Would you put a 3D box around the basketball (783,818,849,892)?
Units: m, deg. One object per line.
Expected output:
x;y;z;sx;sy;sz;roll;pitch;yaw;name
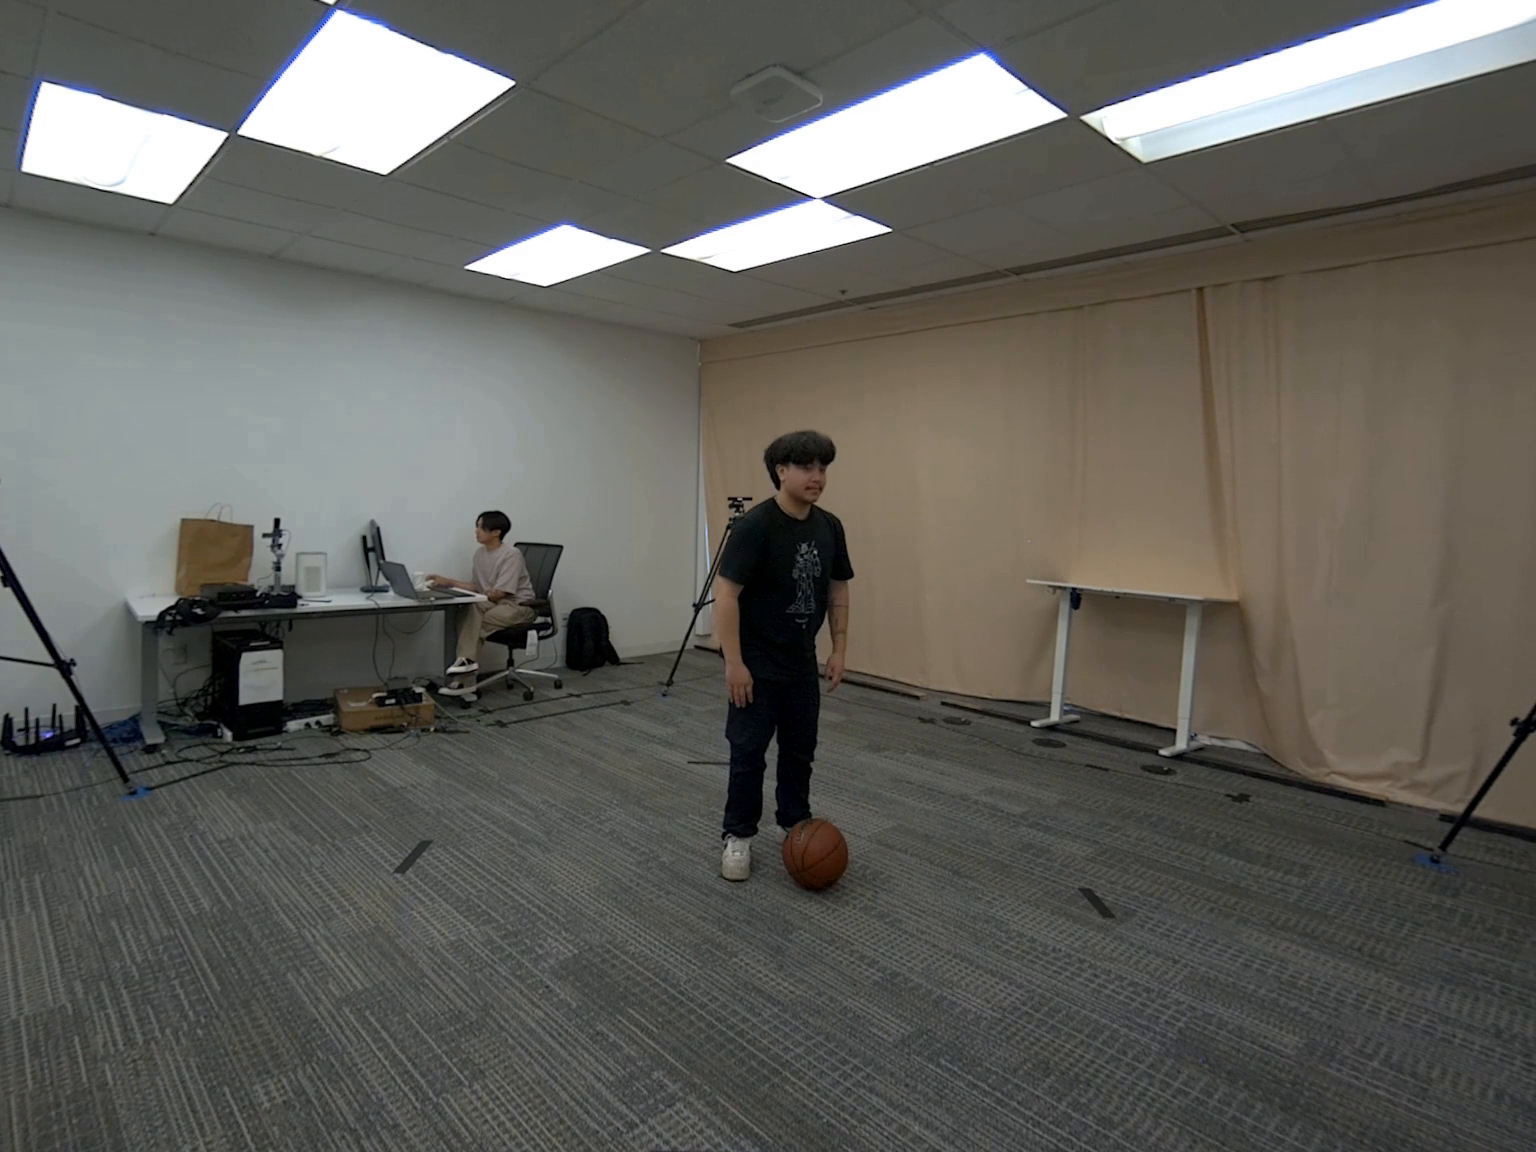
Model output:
0.161;1.000;3.033;0.236;0.235;0.237;1;4;-1;basketball
